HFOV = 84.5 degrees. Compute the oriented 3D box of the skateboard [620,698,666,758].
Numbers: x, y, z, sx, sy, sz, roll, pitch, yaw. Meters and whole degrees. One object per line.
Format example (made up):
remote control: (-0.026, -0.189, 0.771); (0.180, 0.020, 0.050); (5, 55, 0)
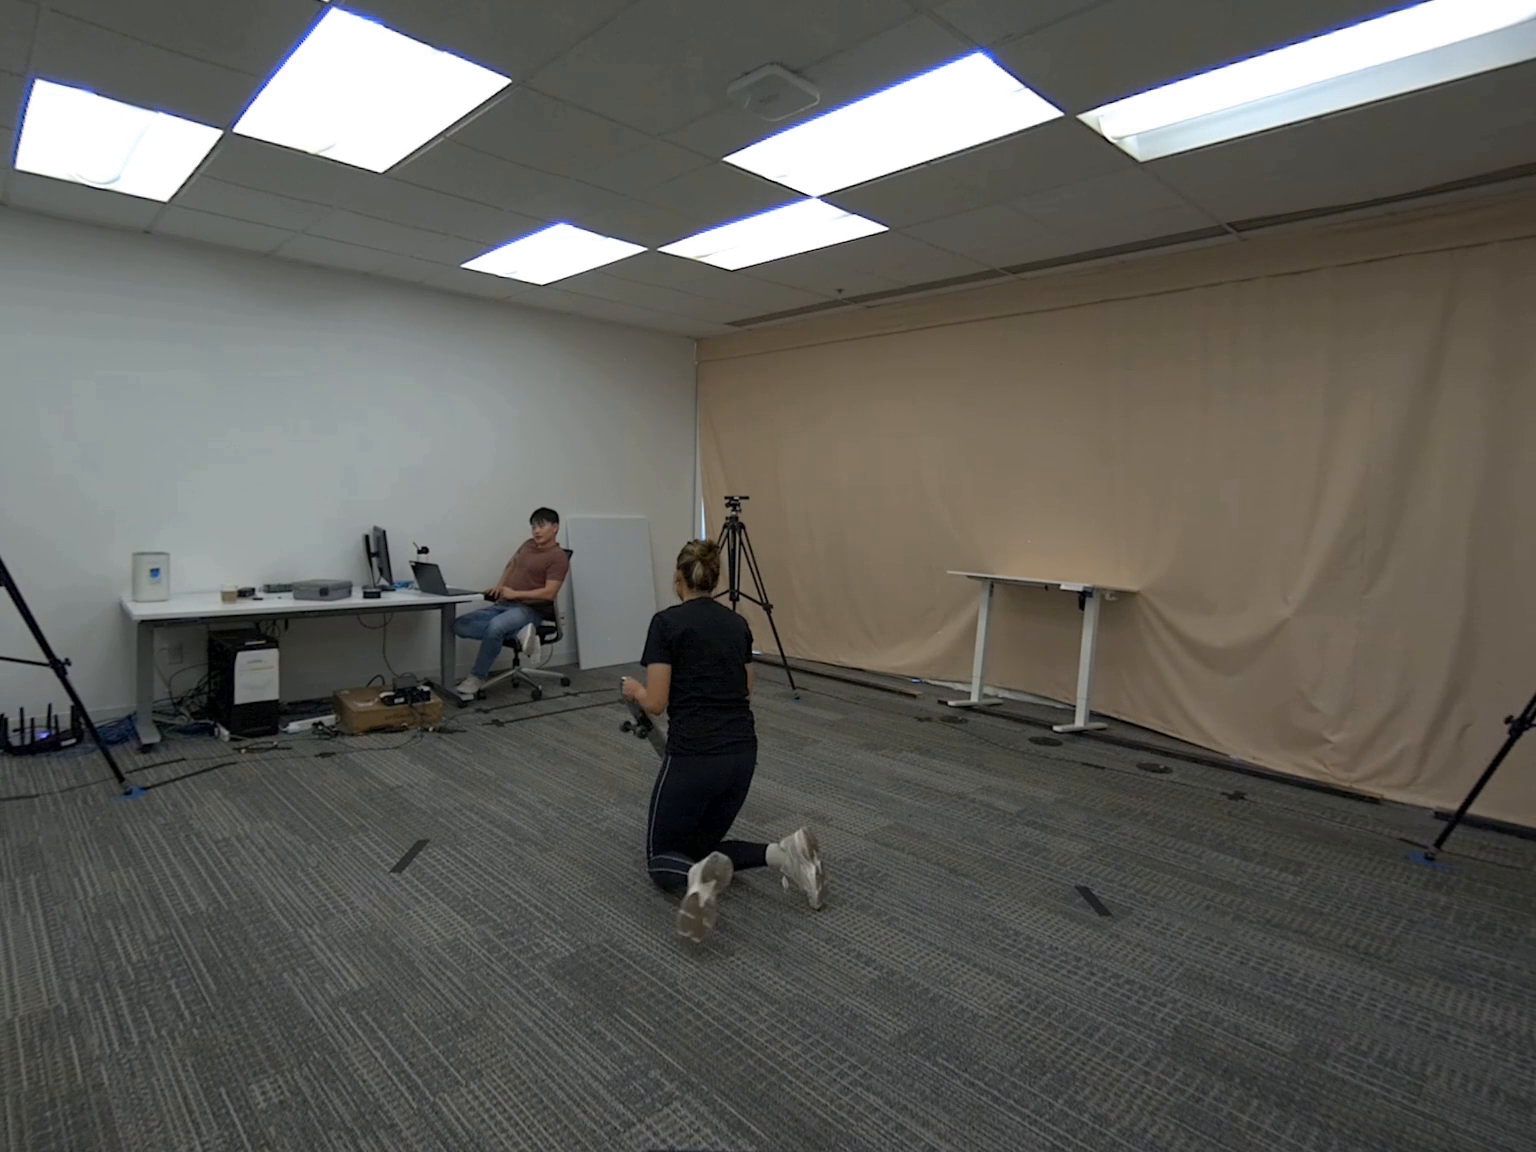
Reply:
skateboard: (-0.430, 0.762, 3.418); (0.110, 0.773, 0.197); (-36, 18, -27)
